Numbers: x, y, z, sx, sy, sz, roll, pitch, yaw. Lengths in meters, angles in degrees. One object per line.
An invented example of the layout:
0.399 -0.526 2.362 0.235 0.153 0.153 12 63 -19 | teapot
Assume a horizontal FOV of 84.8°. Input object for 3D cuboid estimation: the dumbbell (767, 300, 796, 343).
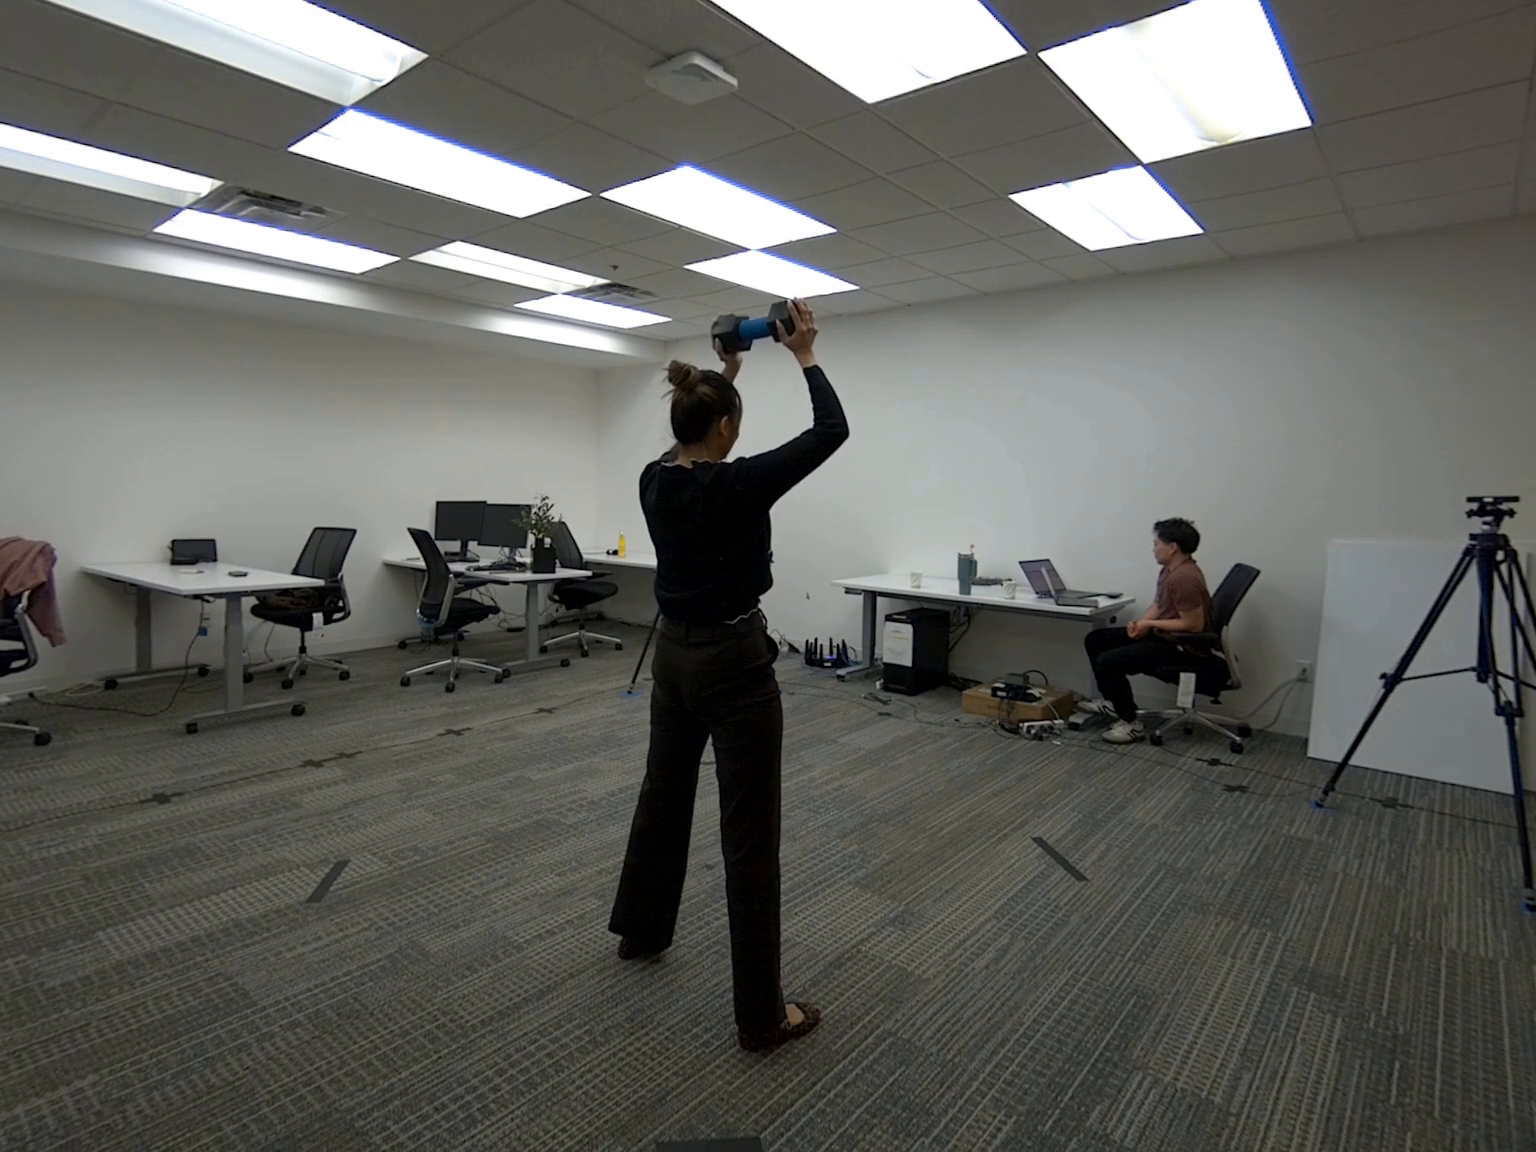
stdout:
-0.026 -0.702 2.407 0.303 0.119 0.109 3 45 43 | dumbbell
